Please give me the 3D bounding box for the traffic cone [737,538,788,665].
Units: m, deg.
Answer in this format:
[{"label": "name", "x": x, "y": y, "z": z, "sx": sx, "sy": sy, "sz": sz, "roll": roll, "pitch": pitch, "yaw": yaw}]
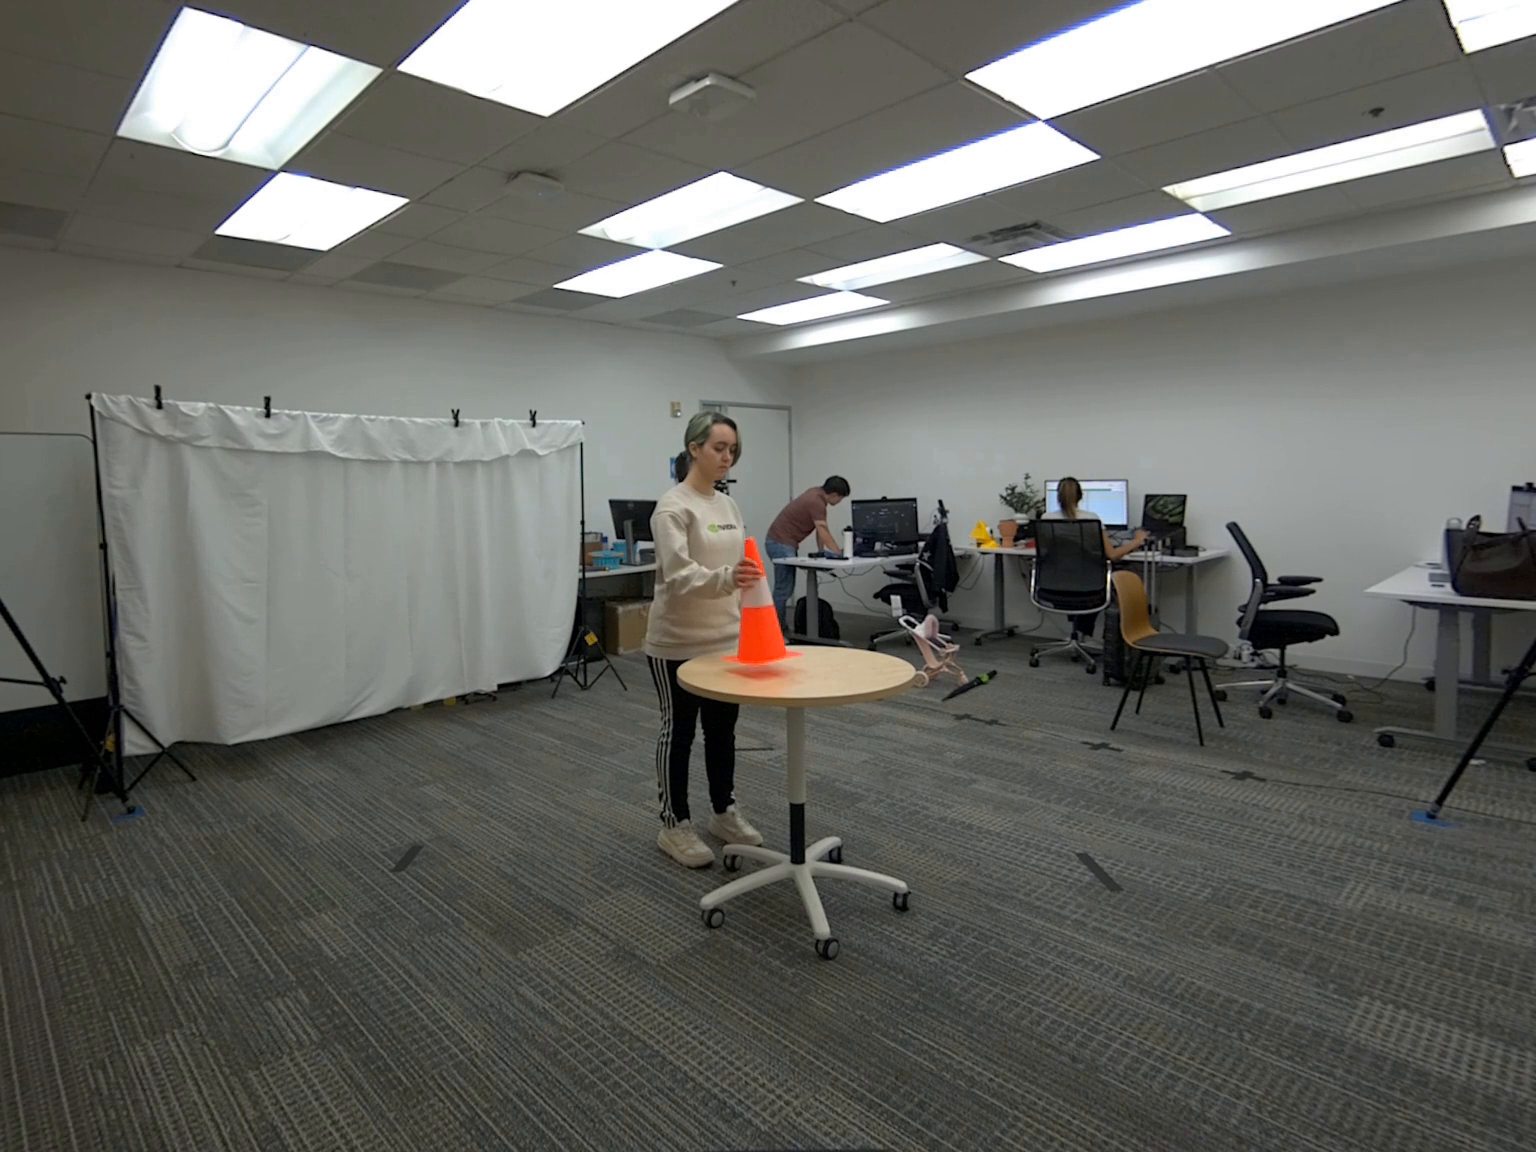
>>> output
[{"label": "traffic cone", "x": -0.035, "y": 0.068, "z": 2.708, "sx": 0.200, "sy": 0.381, "sz": 0.209, "roll": -11, "pitch": 7, "yaw": -38}]
